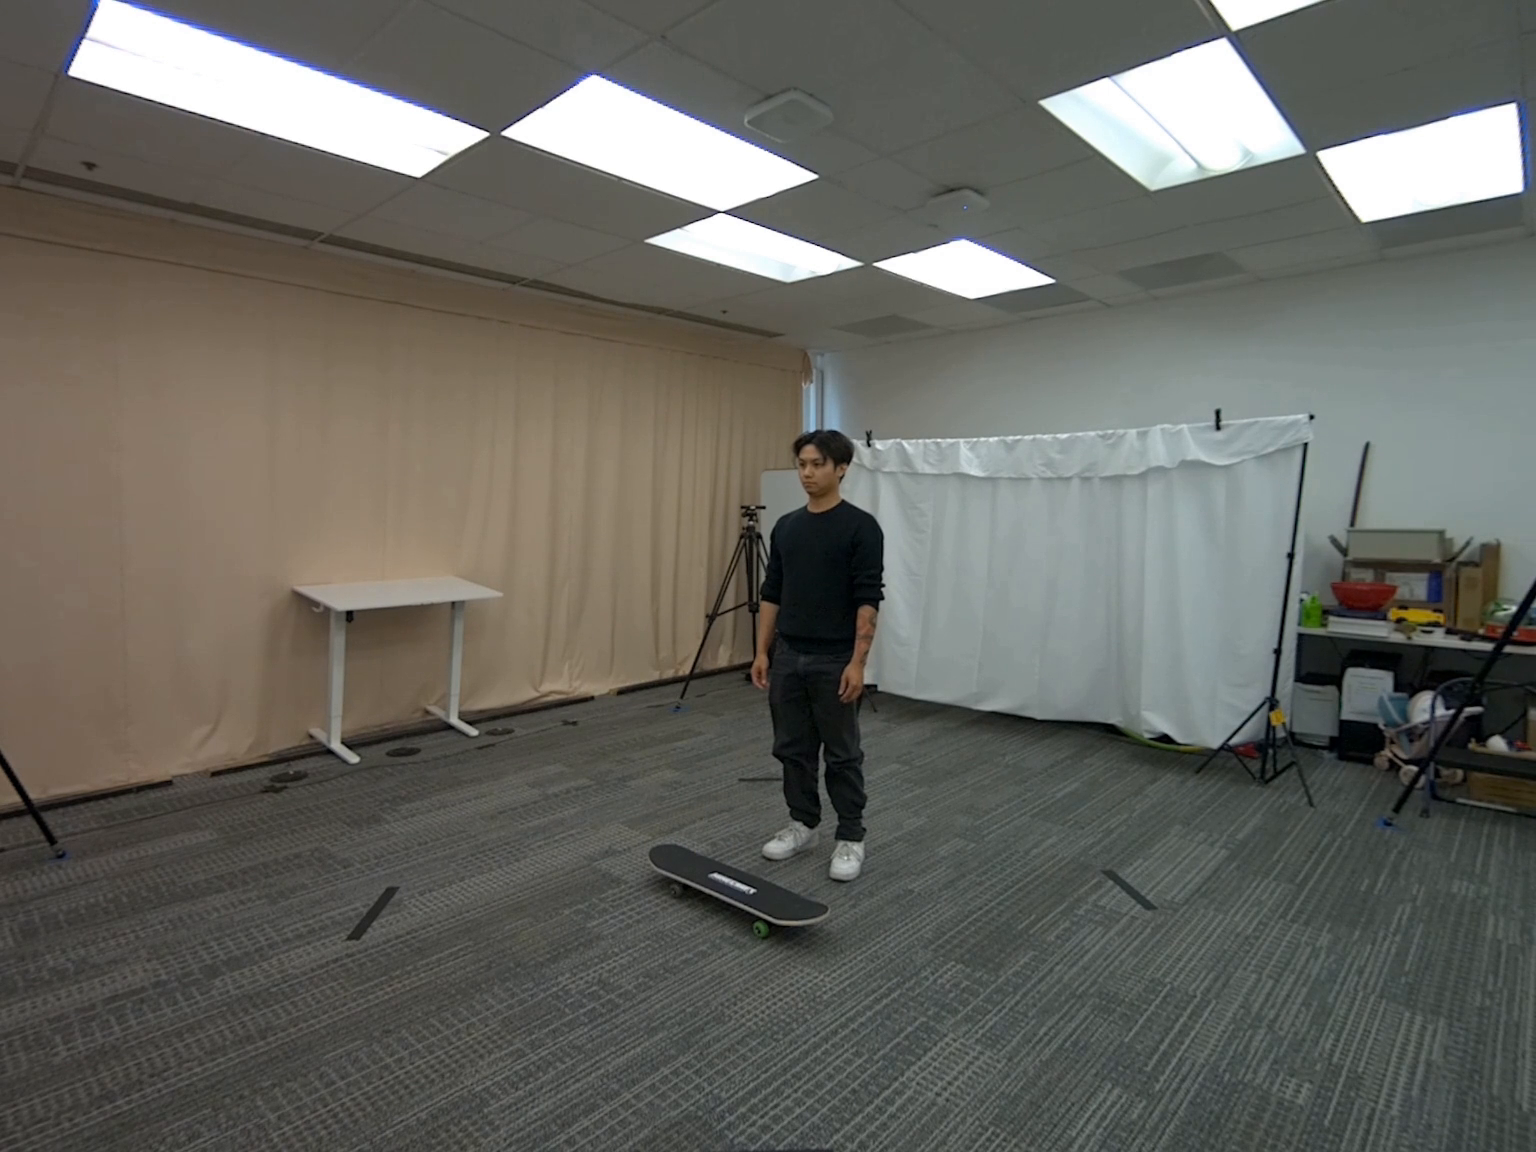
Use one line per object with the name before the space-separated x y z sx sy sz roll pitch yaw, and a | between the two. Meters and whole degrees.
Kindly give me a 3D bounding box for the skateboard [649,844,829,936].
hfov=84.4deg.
skateboard | -0.124 1.092 2.906 0.811 0.110 0.187 4 5 42
